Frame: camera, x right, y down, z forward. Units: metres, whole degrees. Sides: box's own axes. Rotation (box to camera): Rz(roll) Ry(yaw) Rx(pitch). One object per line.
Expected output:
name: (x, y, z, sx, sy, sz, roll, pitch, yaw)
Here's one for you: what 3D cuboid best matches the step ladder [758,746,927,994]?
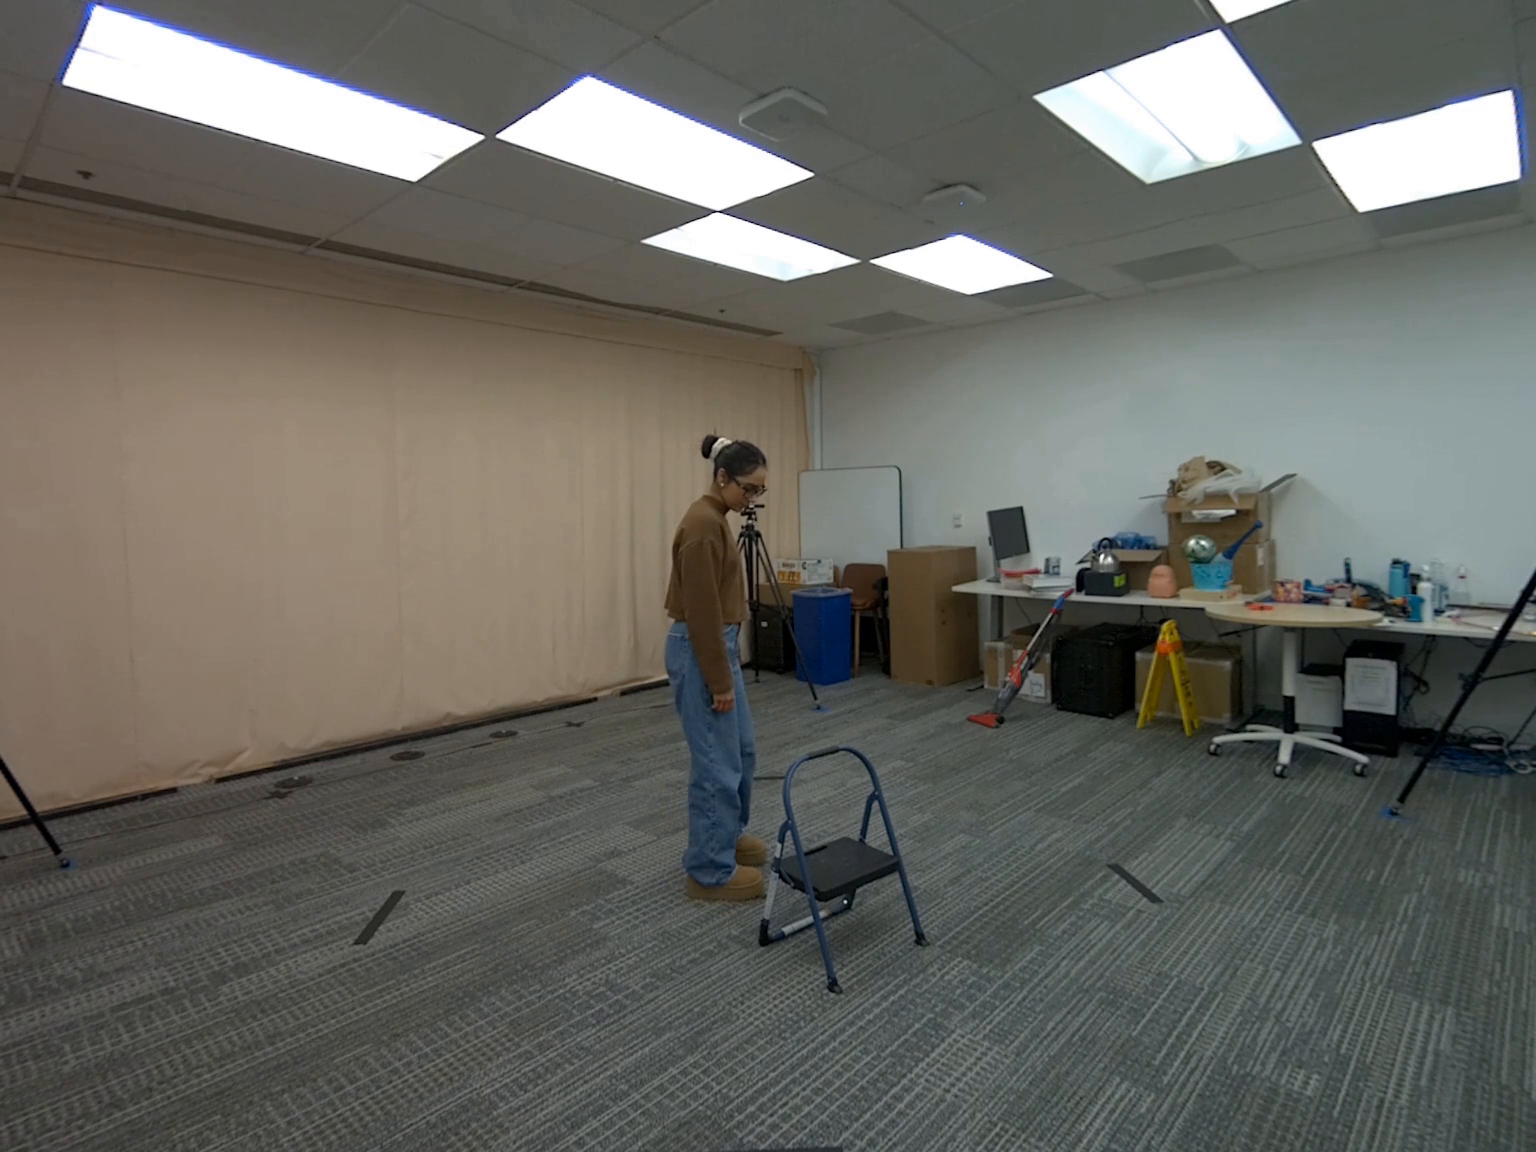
step ladder: (0.236, 0.860, 2.640, 0.418, 0.605, 0.360, -4, 4, -40)
